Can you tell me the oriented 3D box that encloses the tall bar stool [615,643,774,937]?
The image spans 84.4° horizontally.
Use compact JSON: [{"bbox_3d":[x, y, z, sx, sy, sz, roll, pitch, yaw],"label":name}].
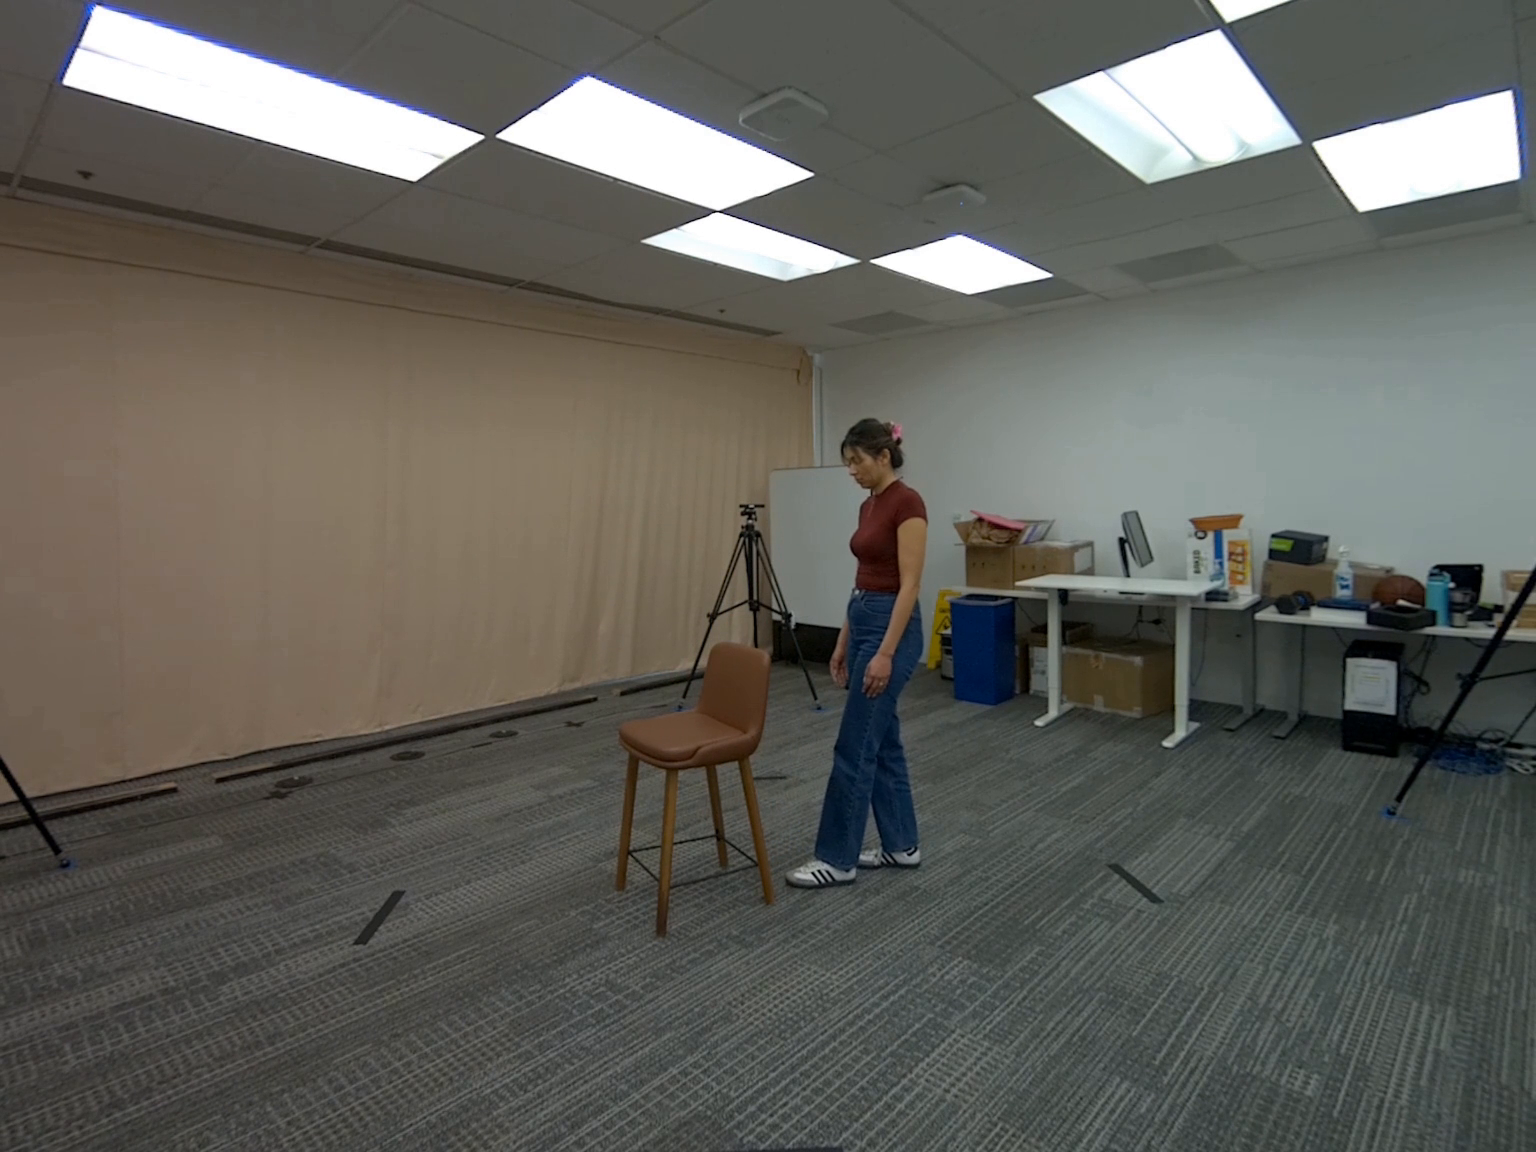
[{"bbox_3d":[-0.259,0.707,2.977,0.455,0.888,0.469,-1,3,-29],"label":"tall bar stool"}]
